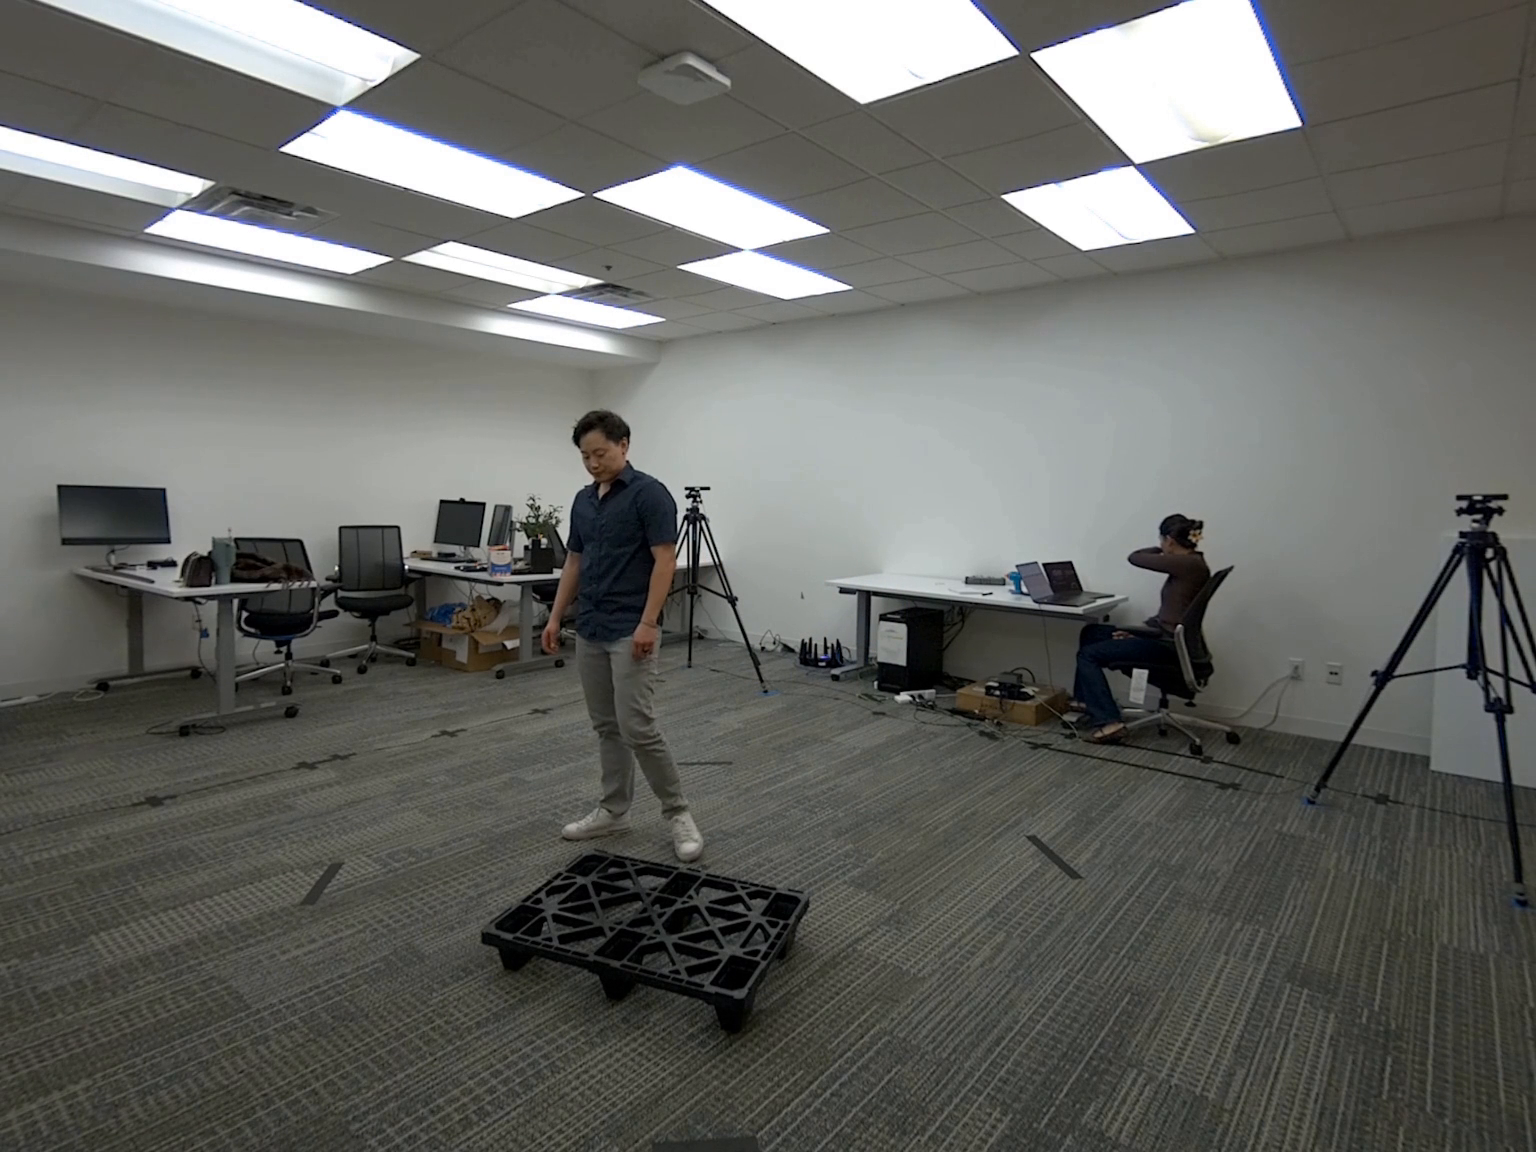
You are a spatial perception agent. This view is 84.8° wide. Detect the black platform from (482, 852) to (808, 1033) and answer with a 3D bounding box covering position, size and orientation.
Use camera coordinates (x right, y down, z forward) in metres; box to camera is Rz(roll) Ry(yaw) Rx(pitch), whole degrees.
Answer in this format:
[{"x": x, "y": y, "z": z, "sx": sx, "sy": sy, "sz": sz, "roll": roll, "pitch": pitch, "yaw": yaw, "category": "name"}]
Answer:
[{"x": -0.351, "y": 1.051, "z": 2.528, "sx": 0.824, "sy": 0.143, "sz": 0.594, "roll": 4, "pitch": 6, "yaw": 21, "category": "black platform"}]
